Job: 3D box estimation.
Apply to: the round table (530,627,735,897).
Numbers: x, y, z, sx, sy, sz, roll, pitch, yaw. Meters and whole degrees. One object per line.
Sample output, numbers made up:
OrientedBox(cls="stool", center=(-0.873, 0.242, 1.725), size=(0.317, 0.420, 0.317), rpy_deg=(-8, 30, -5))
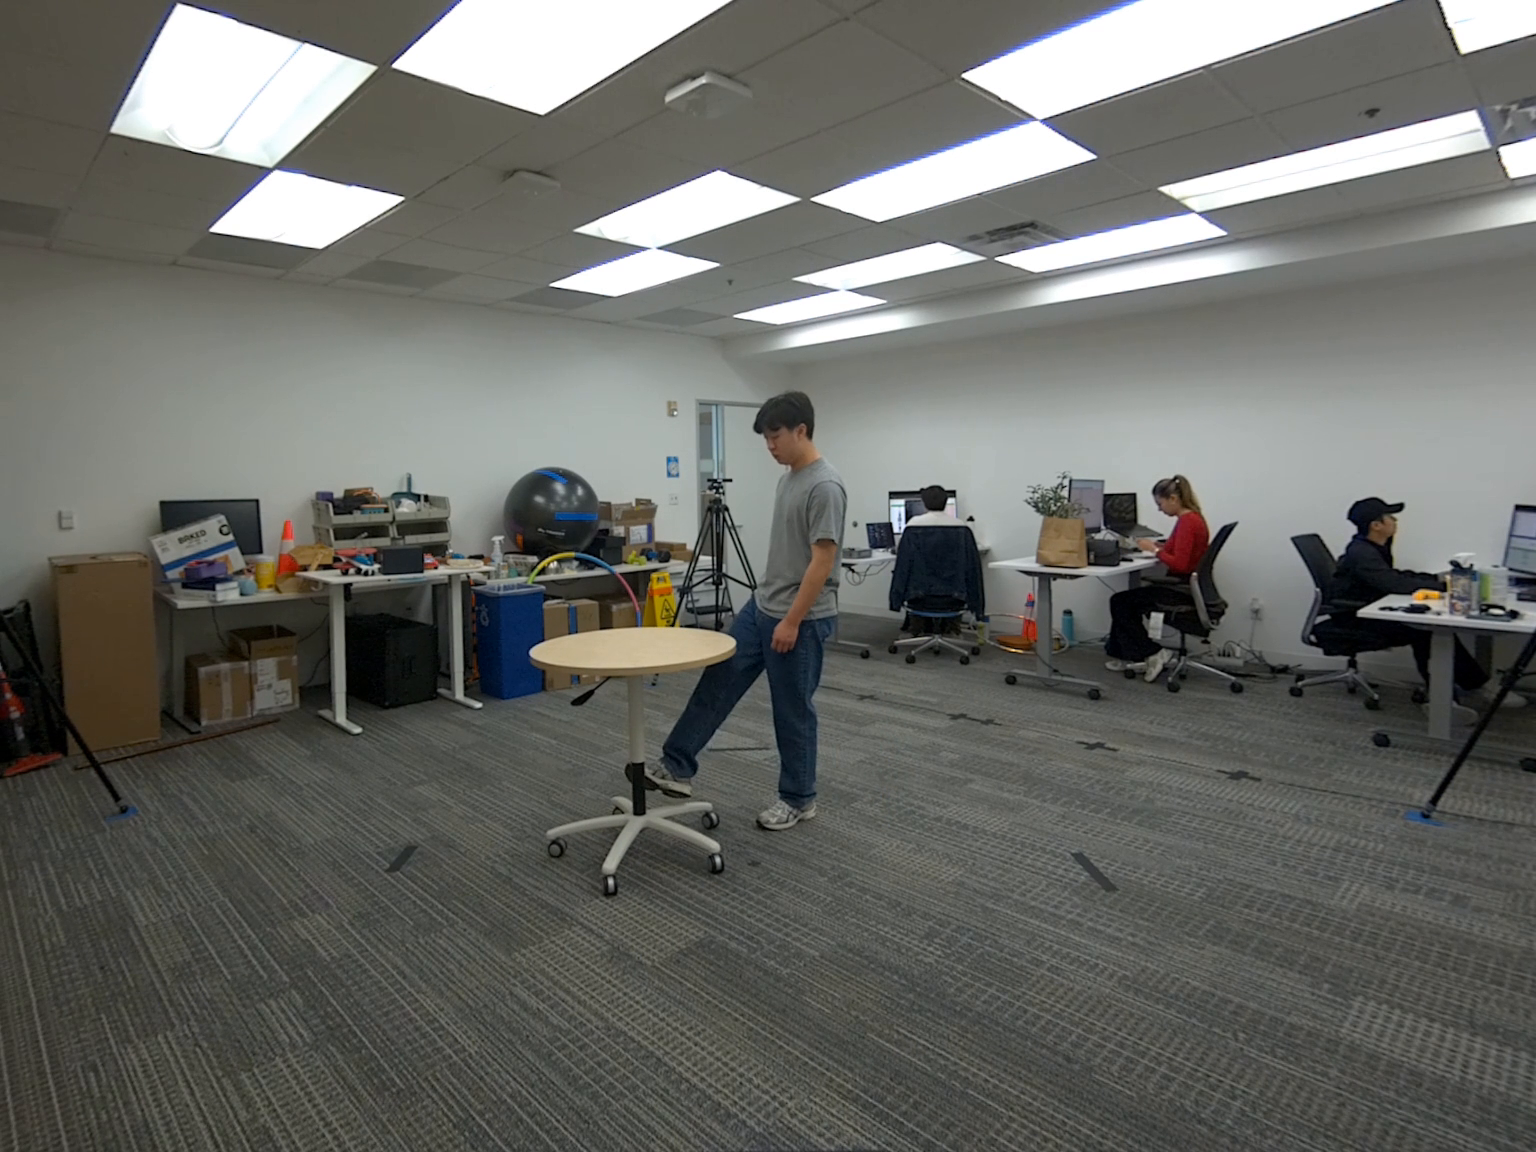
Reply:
OrientedBox(cls="round table", center=(-0.490, 0.651, 3.209), size=(0.763, 0.791, 0.768), rpy_deg=(-1, 5, -2))
